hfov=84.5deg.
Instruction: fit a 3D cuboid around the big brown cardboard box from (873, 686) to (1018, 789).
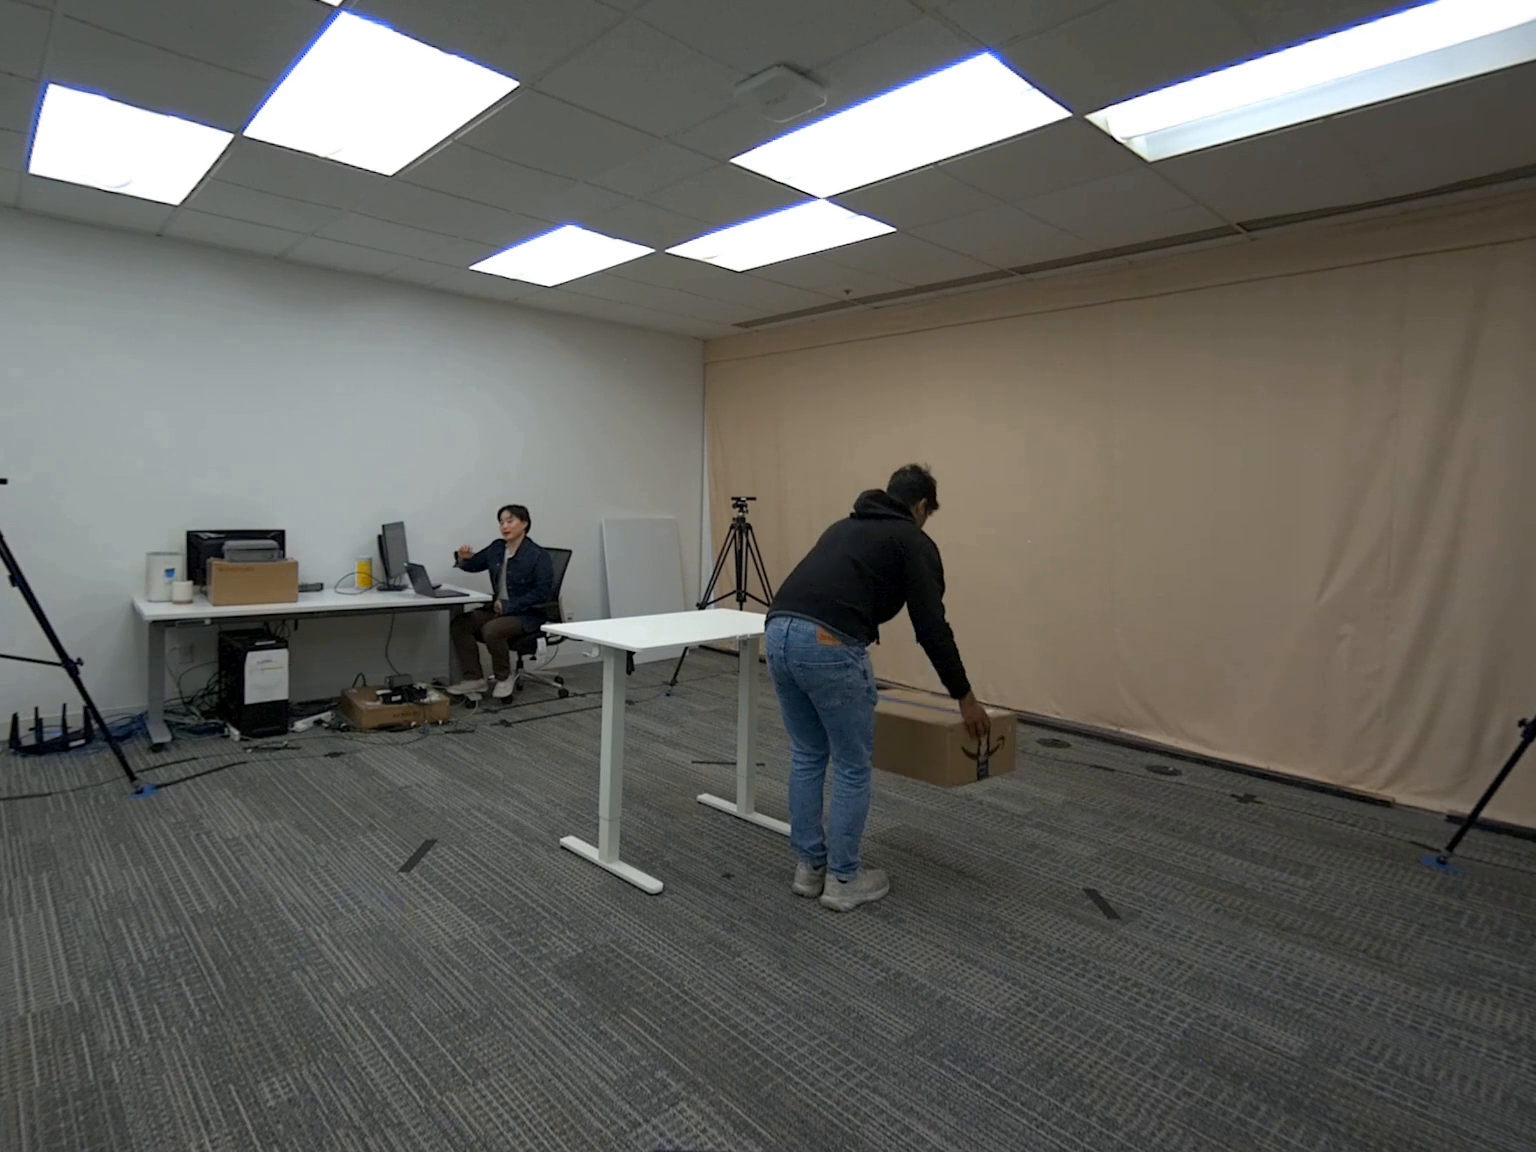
[{"bbox_3d":[0.570,0.593,3.187,0.408,0.233,0.603,-1,3,-42],"label":"big brown cardboard box"}]
